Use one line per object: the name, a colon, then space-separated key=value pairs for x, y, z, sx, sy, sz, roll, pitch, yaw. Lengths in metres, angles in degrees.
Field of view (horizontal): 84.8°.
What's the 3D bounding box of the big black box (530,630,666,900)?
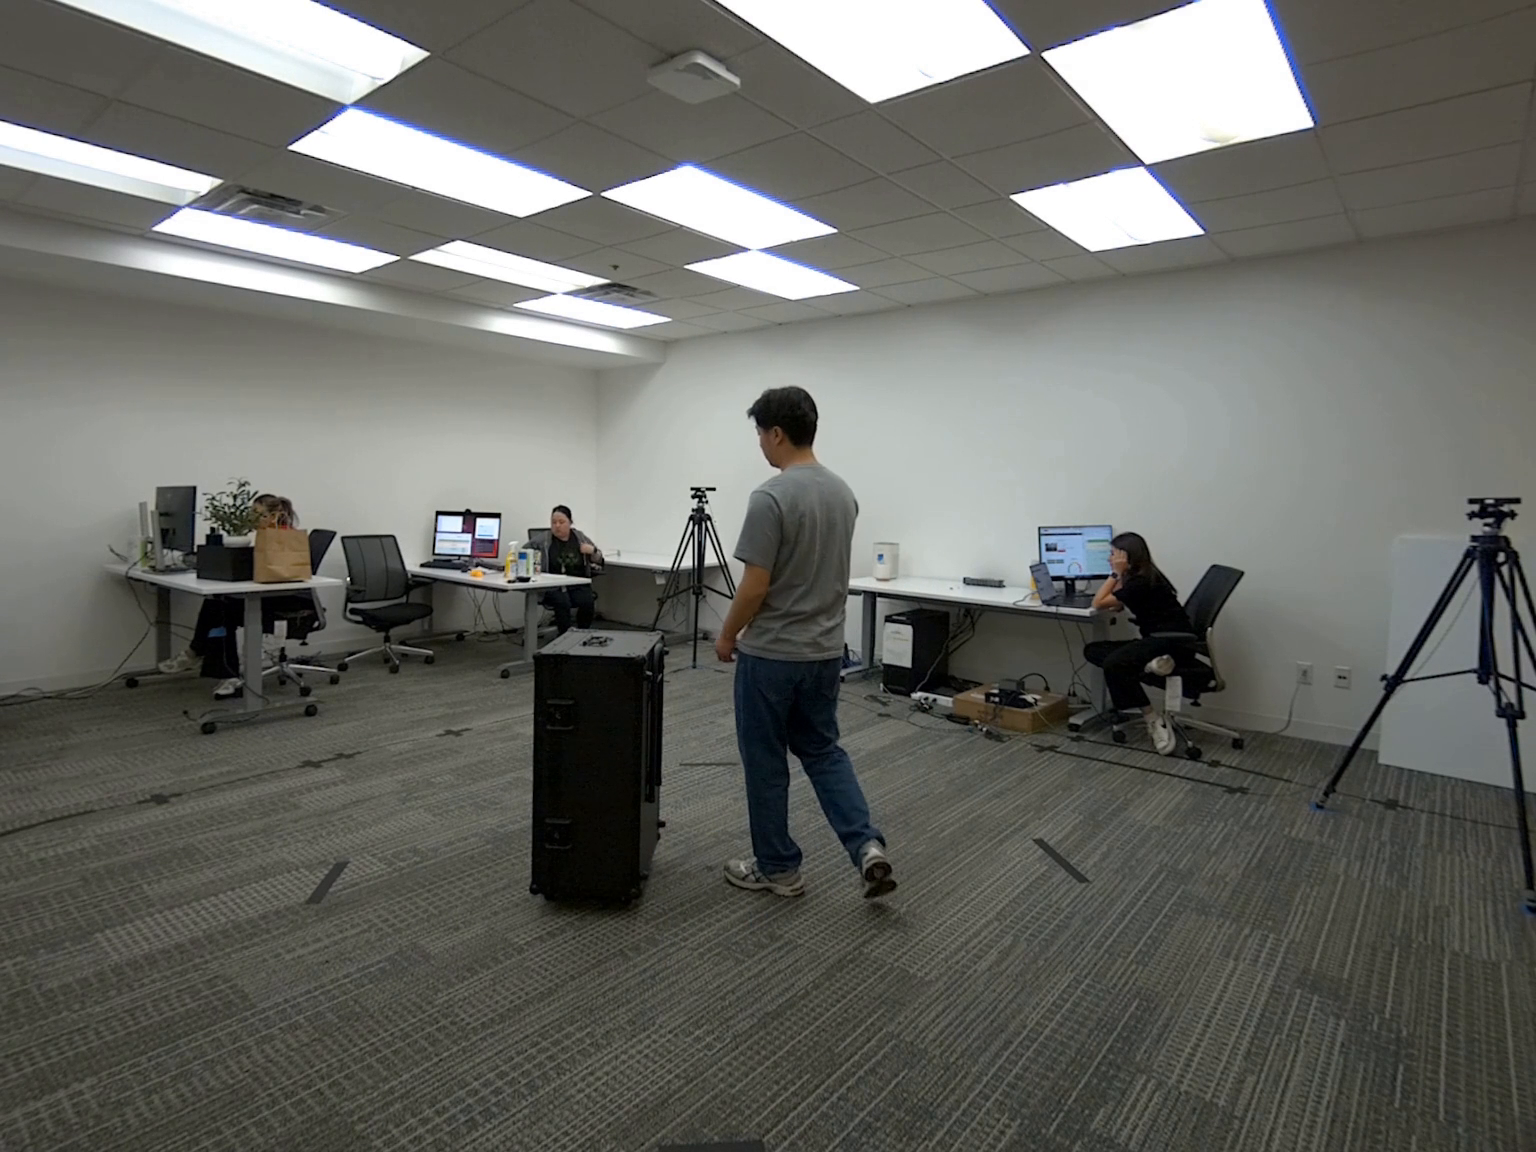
big black box: x=-0.579 y=0.650 z=2.955 sx=0.398 sy=0.860 sz=0.520 roll=2 pitch=2 yaw=2
